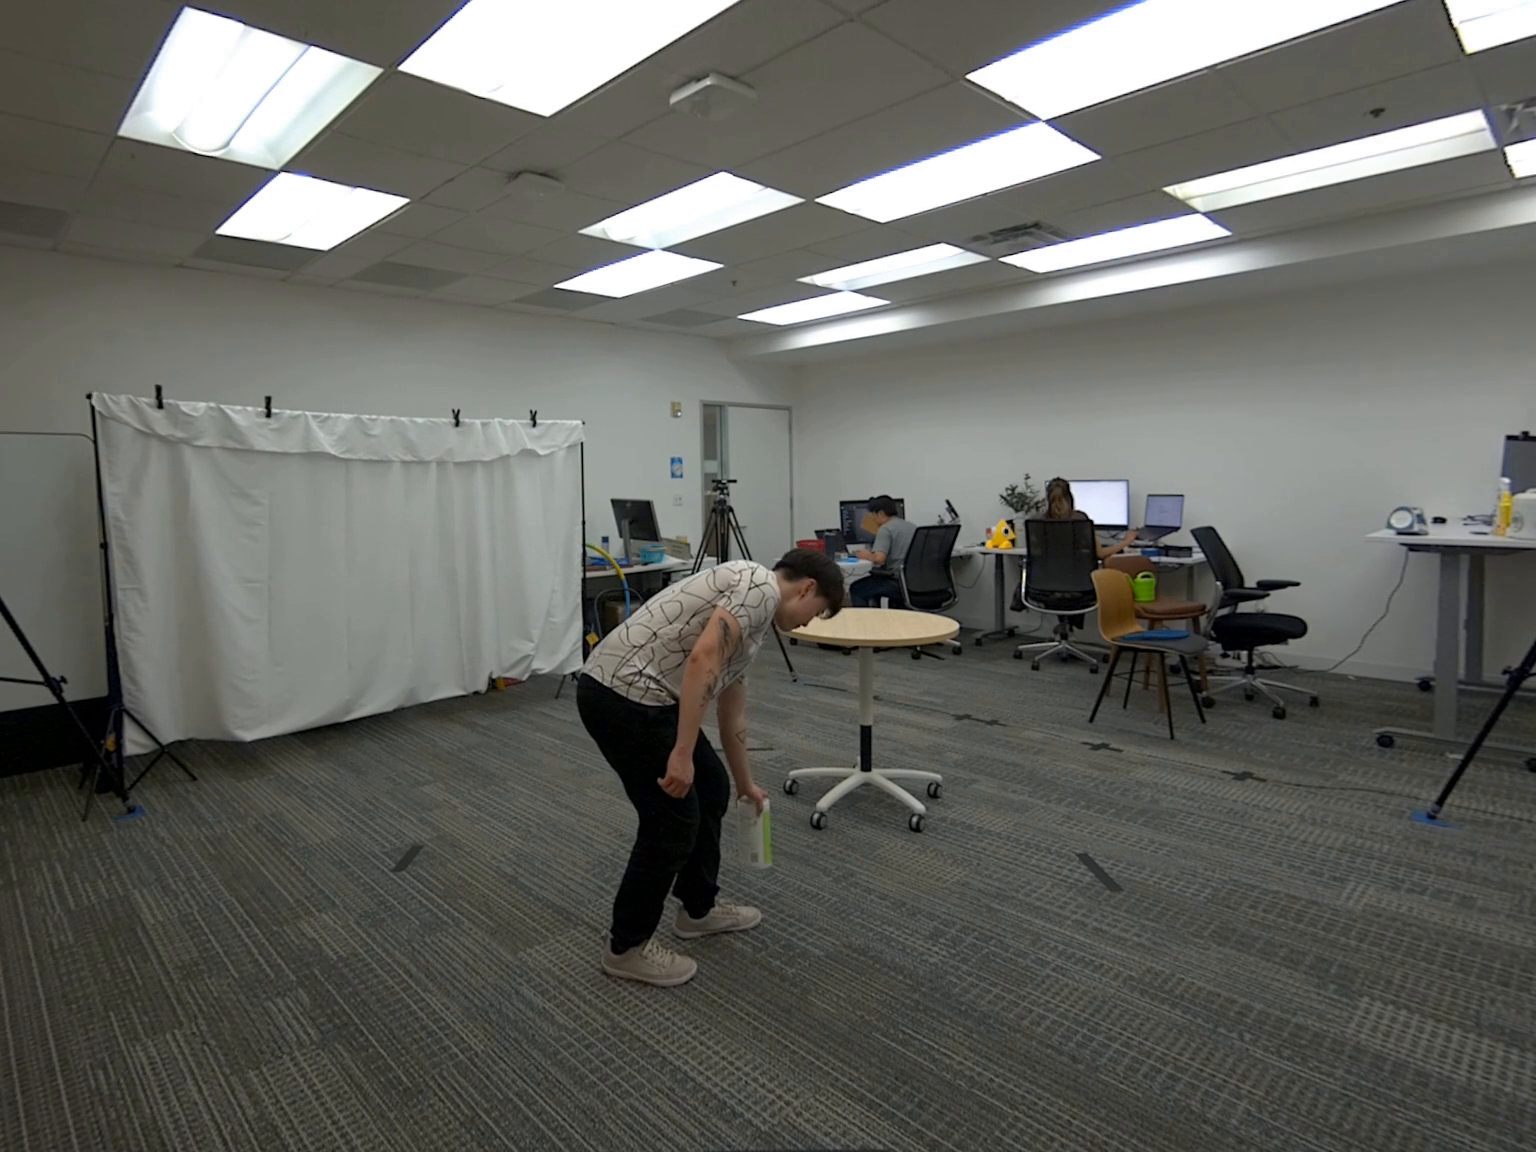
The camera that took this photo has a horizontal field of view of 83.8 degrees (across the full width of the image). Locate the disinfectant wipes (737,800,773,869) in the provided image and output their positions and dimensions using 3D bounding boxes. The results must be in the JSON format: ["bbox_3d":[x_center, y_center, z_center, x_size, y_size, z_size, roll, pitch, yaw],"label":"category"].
[{"bbox_3d":[-0.042,0.852,2.829,0.118,0.217,0.118,-2,0,-2],"label":"disinfectant wipes"}]
